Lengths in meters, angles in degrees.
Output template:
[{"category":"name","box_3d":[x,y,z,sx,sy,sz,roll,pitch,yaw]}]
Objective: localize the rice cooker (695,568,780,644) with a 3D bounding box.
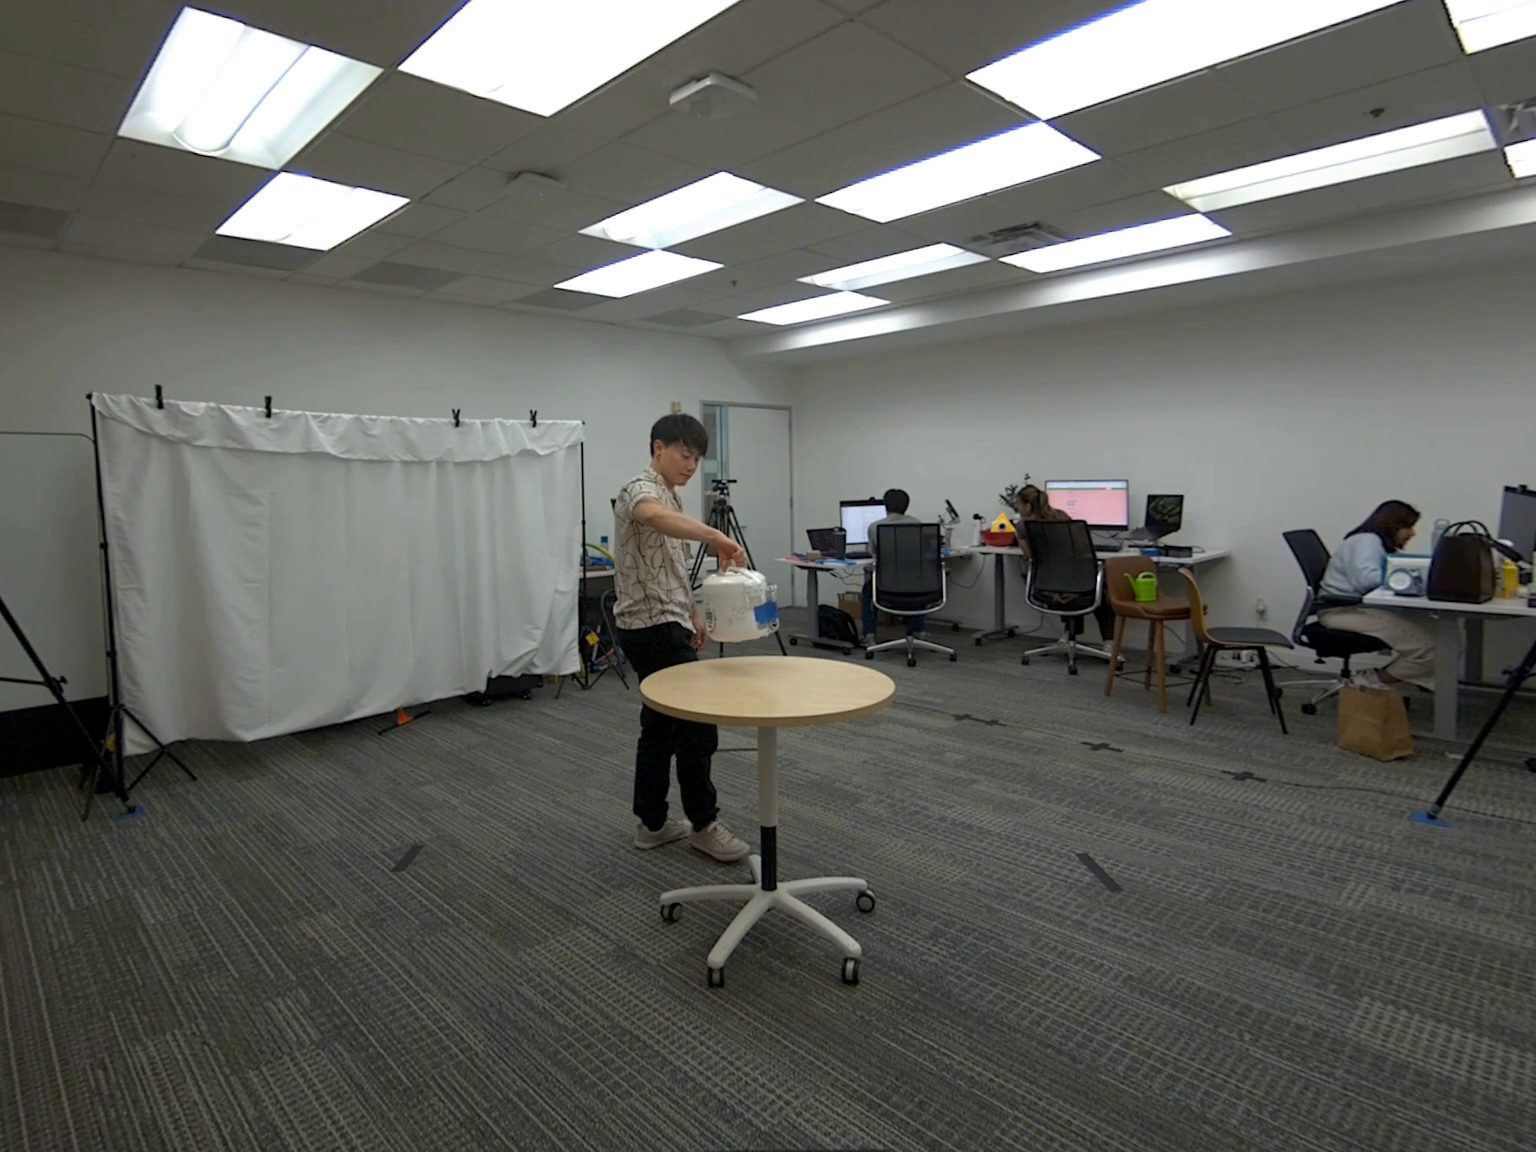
[{"category":"rice cooker","box_3d":[-0.101,0.084,2.750,0.212,0.232,0.227,-6,4,-36]}]
